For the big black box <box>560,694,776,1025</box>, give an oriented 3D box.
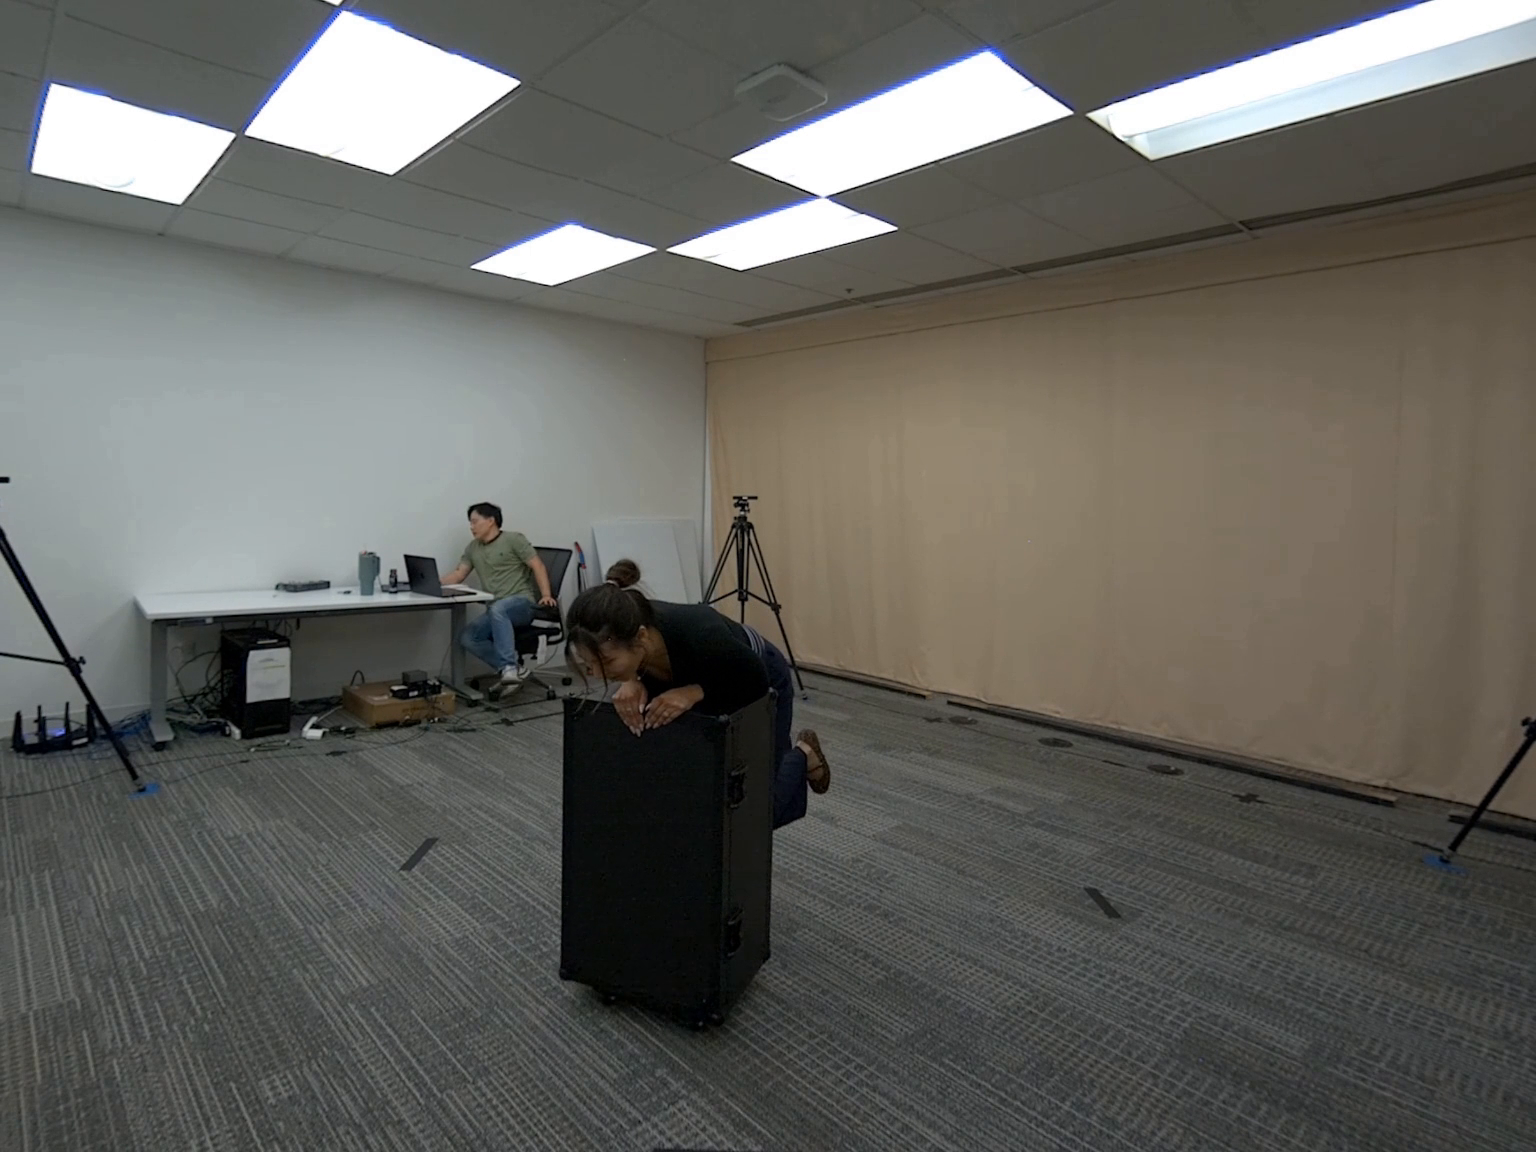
[{"bbox_3d":[-0.279,0.749,2.349,0.530,0.860,0.390,2,2,22],"label":"big black box"}]
